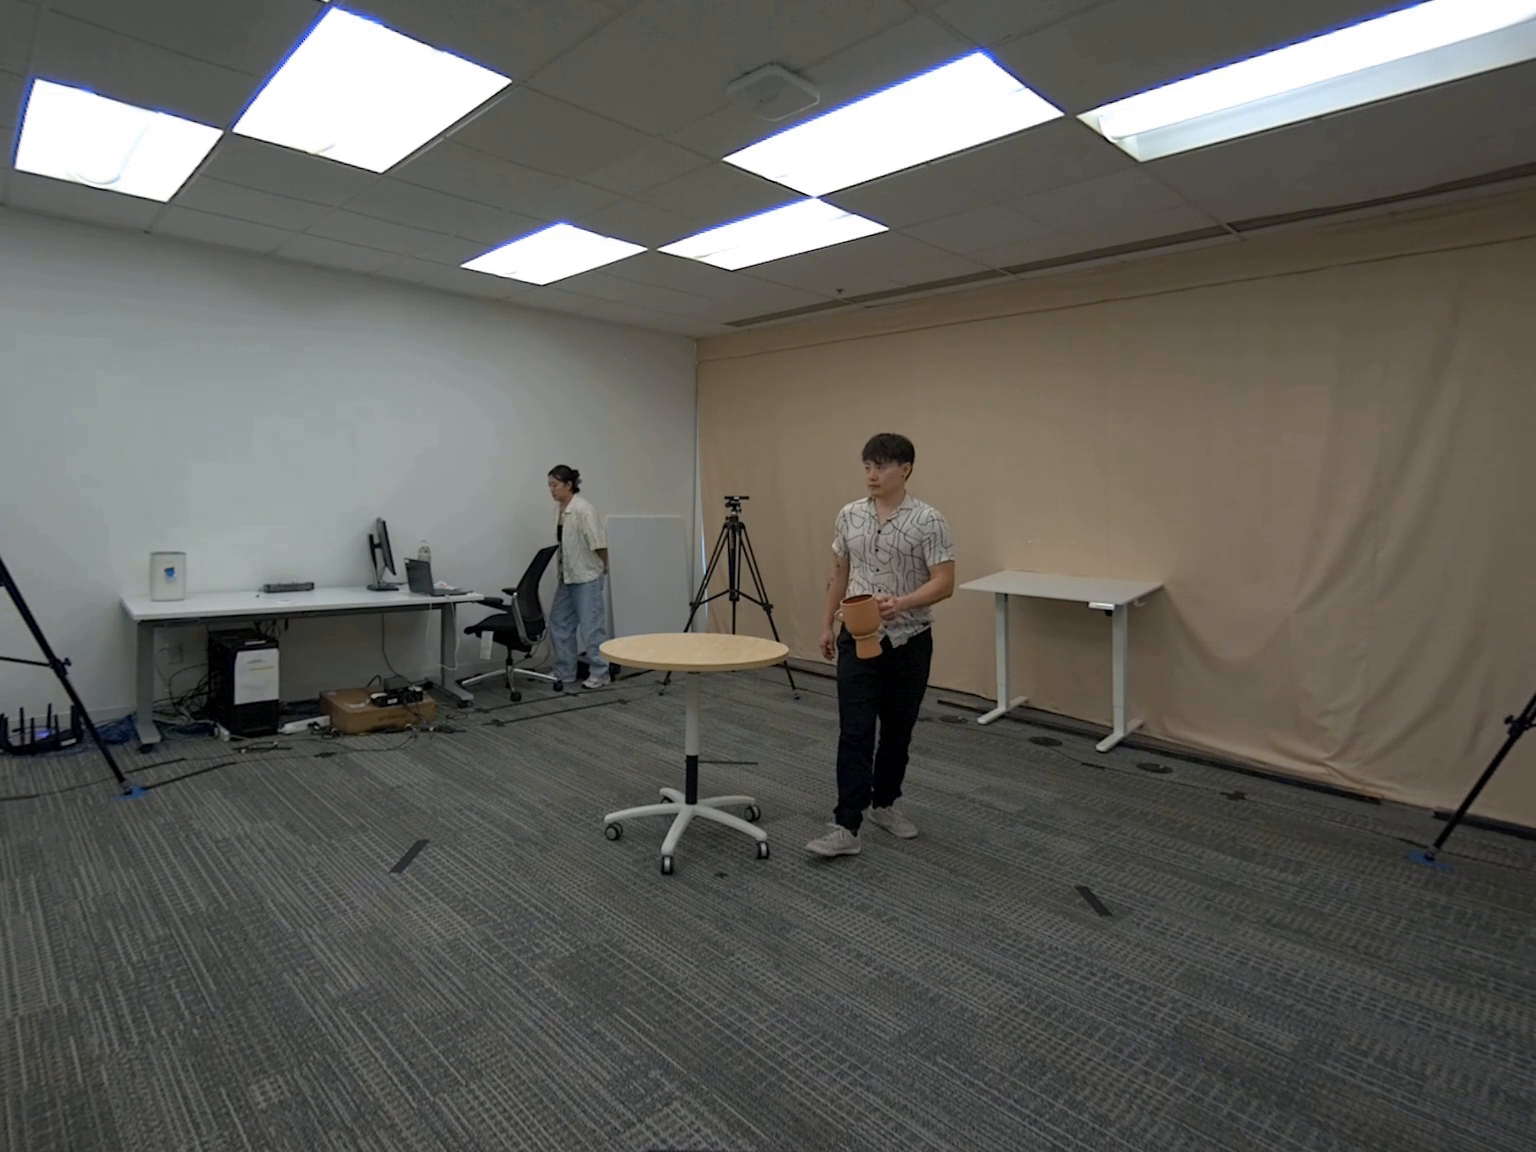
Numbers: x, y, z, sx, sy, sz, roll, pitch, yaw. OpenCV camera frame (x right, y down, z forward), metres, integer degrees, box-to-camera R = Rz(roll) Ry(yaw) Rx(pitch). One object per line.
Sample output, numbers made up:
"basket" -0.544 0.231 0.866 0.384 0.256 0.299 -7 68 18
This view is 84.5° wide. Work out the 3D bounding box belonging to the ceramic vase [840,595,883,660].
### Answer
"ceramic vase" 0.343 0.189 3.178 0.162 0.218 0.133 -6 10 33
